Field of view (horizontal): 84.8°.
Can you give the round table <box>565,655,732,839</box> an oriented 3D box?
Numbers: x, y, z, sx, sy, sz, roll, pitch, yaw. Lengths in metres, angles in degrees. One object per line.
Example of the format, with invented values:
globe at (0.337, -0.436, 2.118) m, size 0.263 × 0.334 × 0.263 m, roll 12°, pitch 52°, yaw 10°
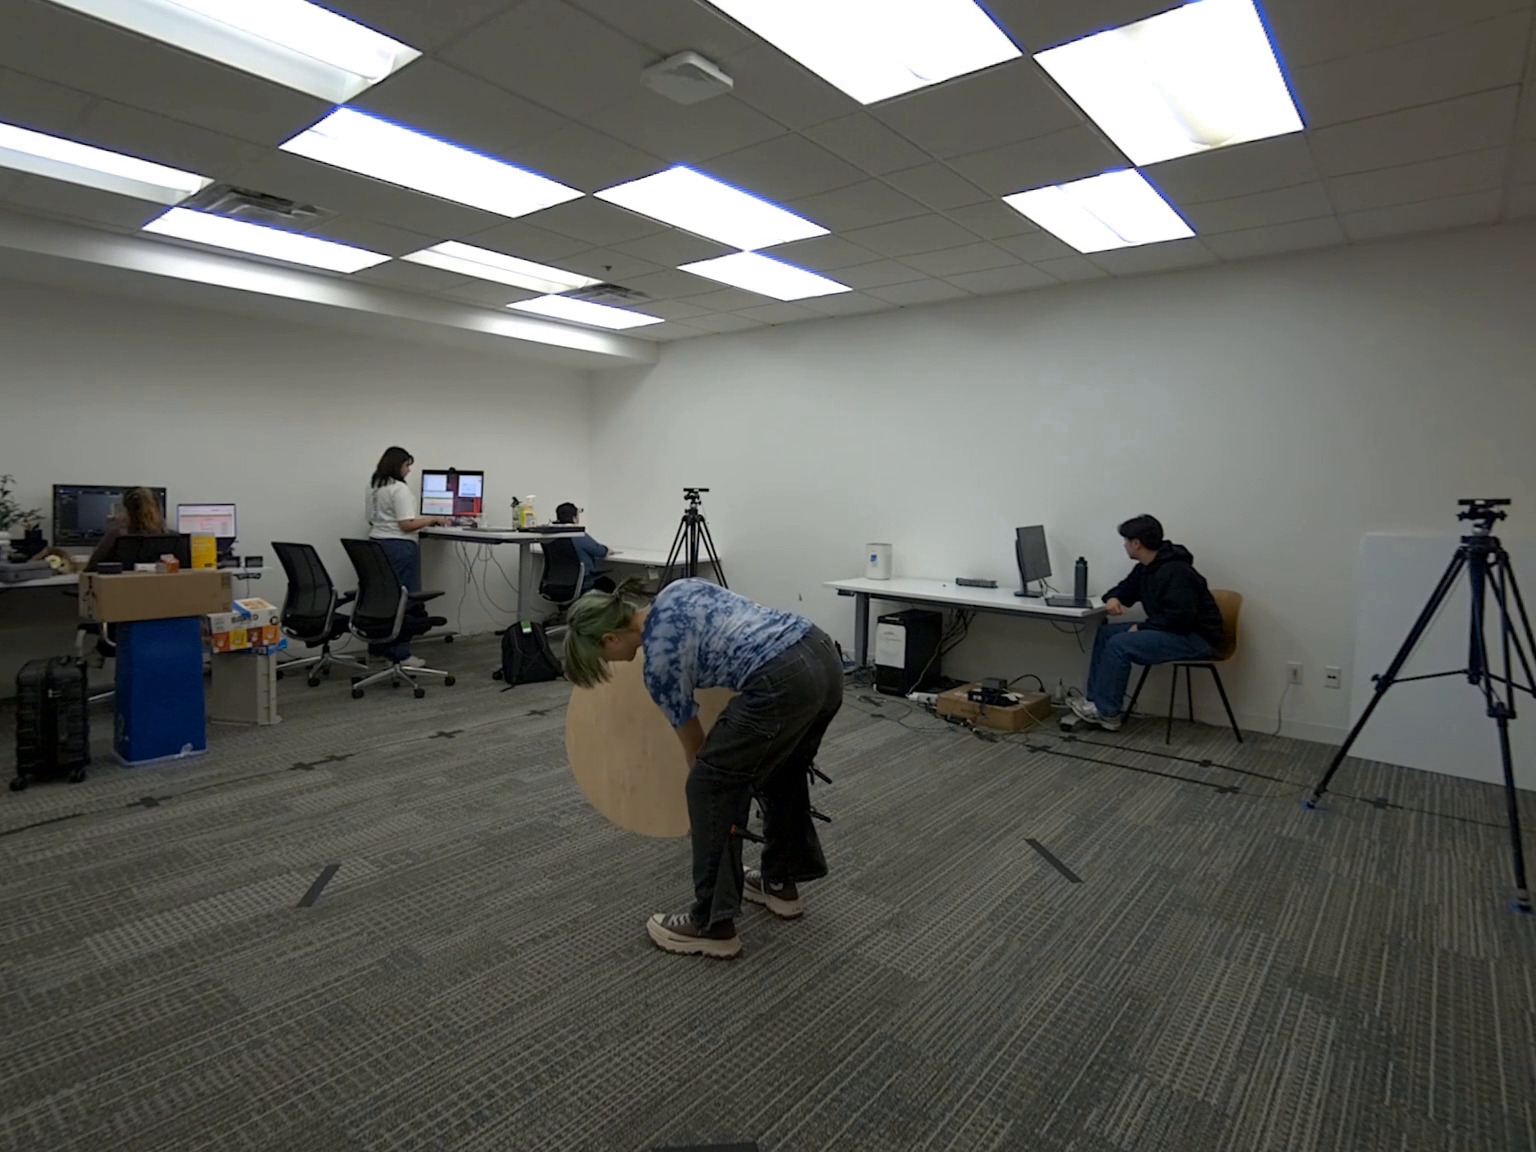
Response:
round table at (-0.312, 0.628, 3.344) m, size 0.774 × 0.776 × 0.771 m, roll 2°, pitch -18°, yaw 11°
